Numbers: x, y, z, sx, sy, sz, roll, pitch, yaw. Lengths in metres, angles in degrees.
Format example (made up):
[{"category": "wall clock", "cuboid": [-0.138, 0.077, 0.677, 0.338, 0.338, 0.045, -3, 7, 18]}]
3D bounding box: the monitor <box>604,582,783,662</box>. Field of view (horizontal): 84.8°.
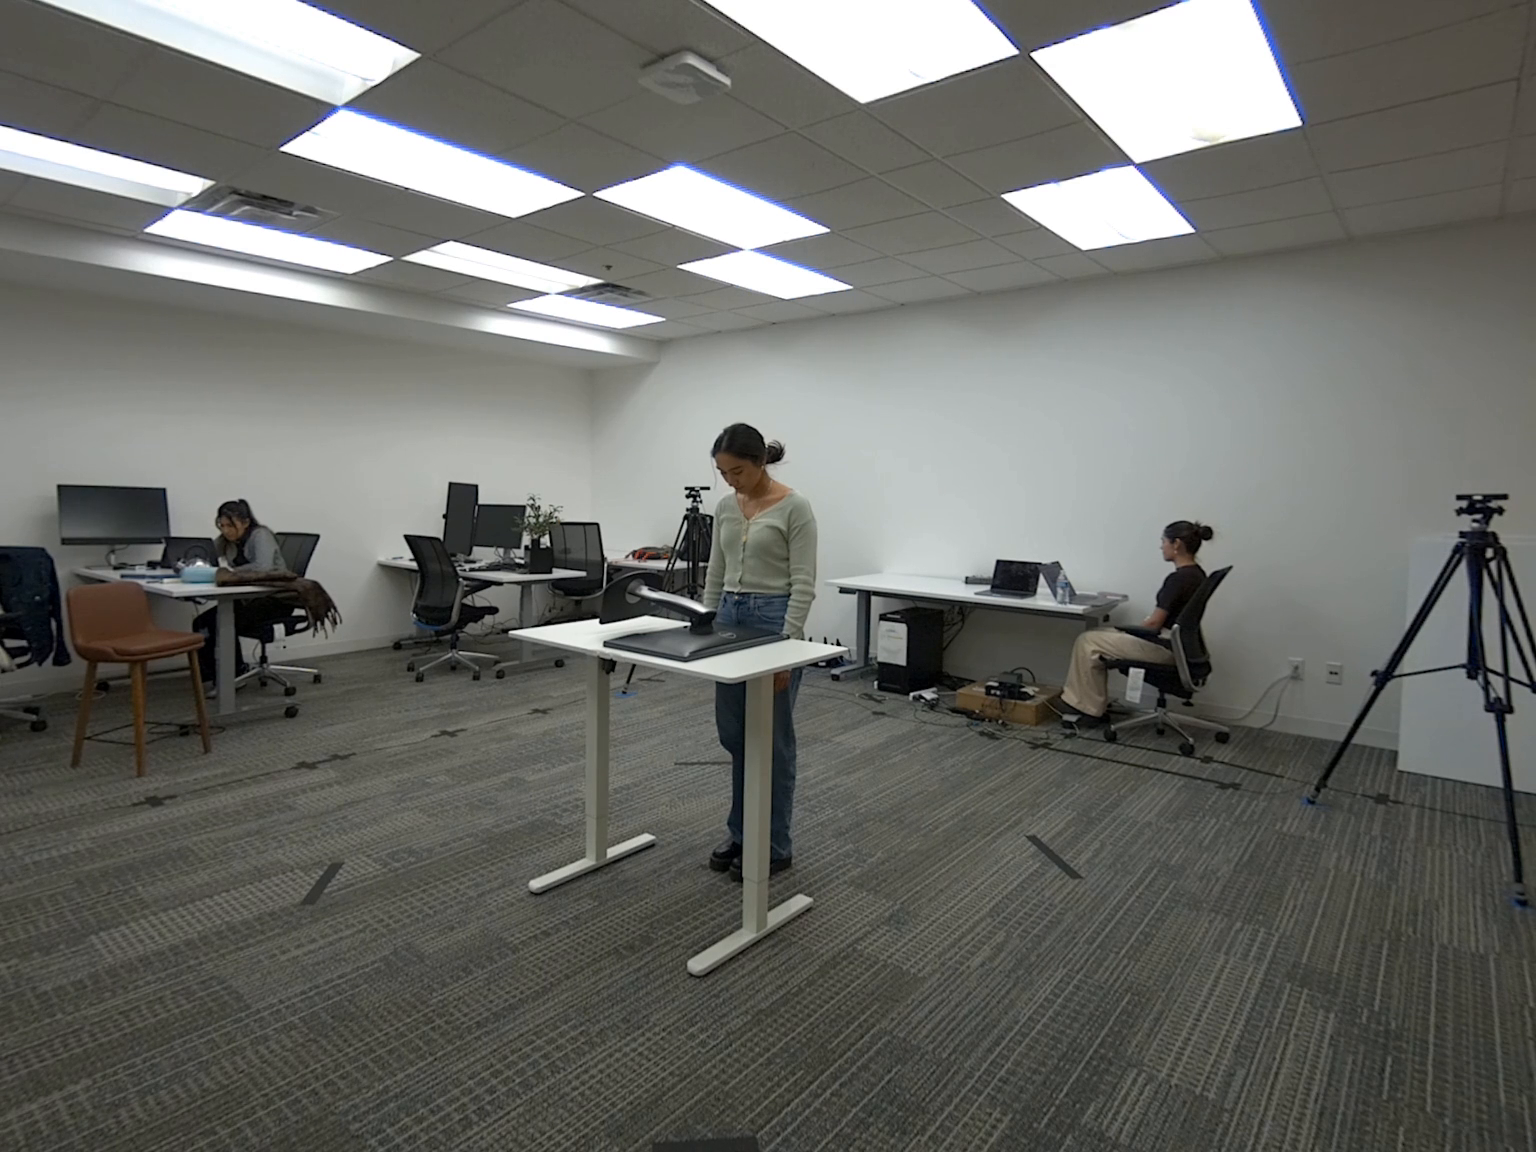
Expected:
[{"category": "monitor", "cuboid": [-0.292, 0.151, 2.831, 0.543, 0.185, 0.525, 22, 20, 36]}]
